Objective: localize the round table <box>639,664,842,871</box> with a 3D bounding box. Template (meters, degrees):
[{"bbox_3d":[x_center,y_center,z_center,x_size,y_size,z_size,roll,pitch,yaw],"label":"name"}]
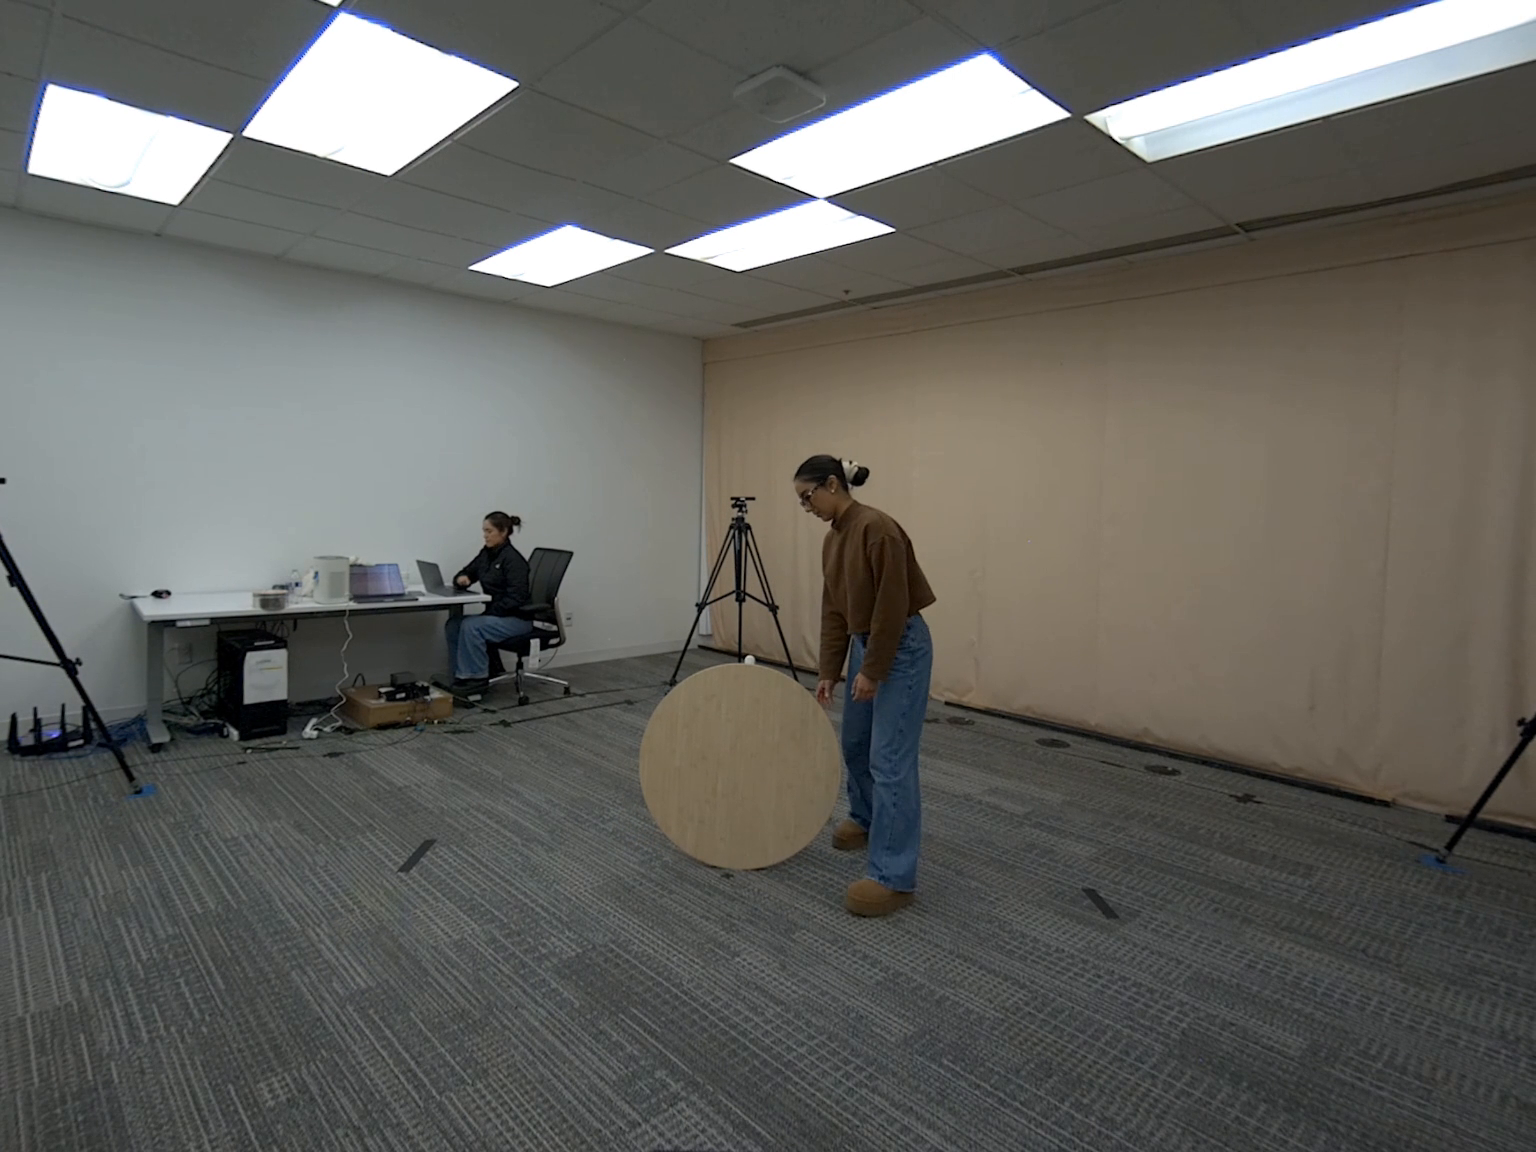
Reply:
[{"bbox_3d":[-0.100,0.724,3.573,0.766,0.765,0.791,1,-1,3],"label":"round table"}]
